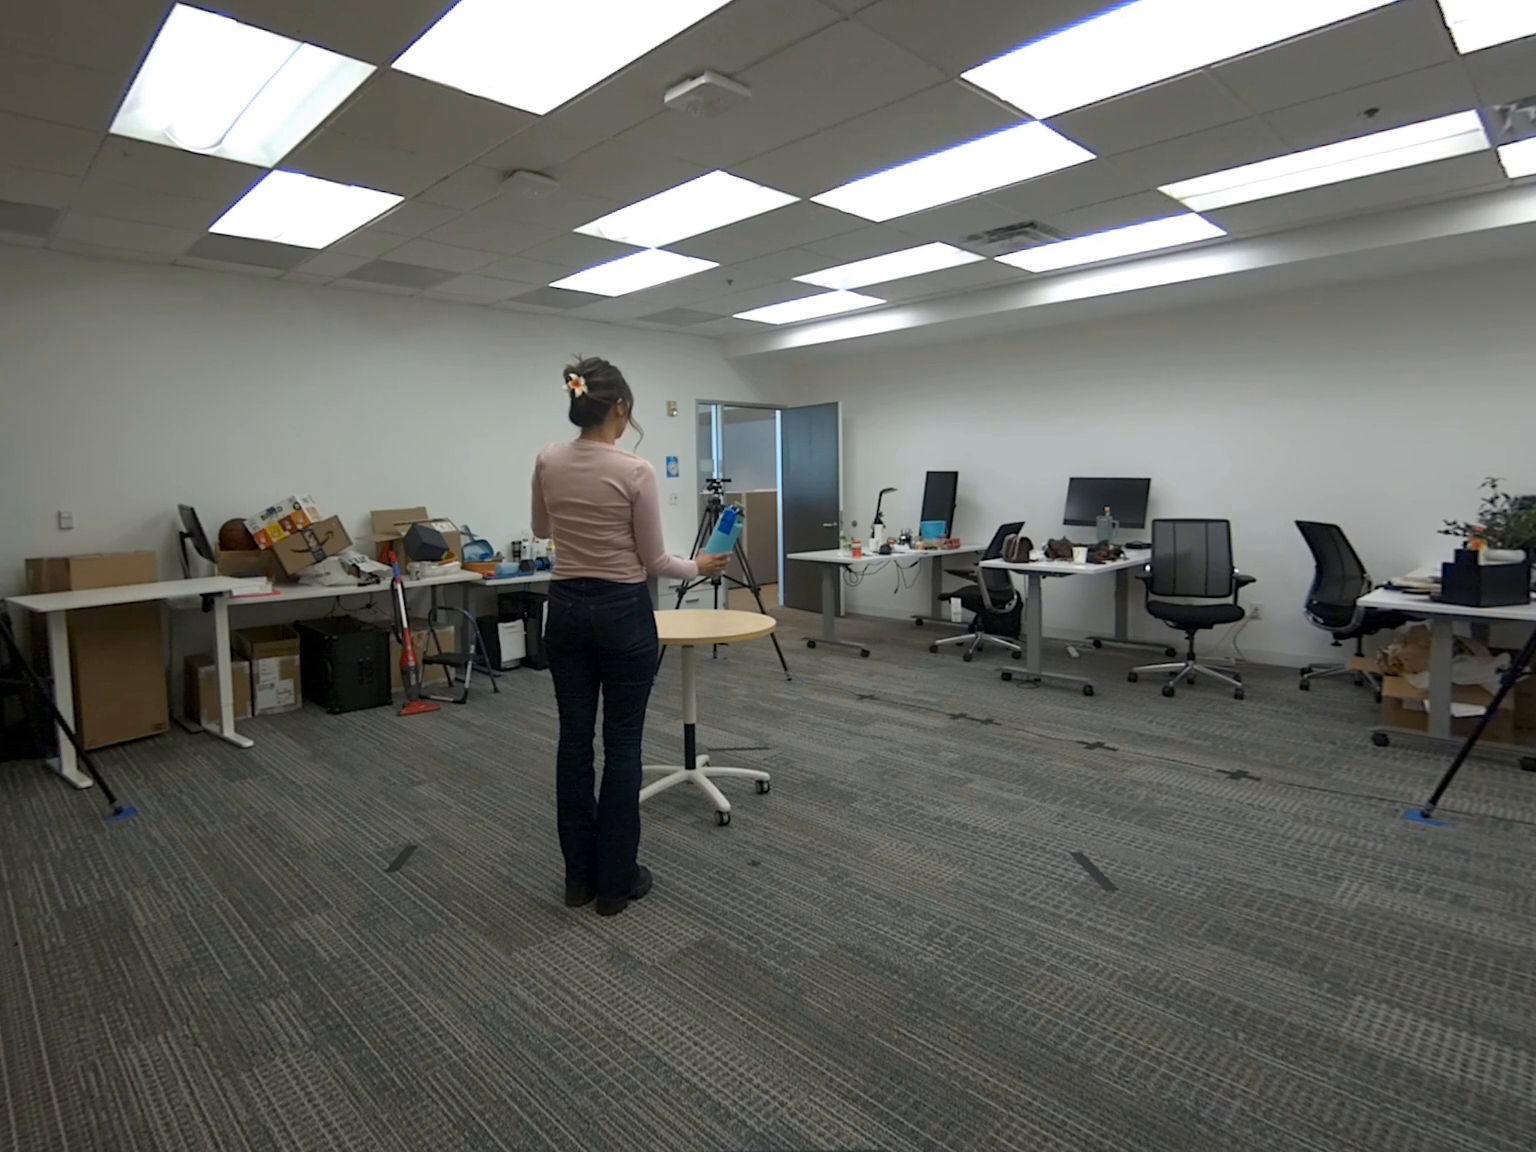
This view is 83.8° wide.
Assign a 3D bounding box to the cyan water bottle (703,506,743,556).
[{"bbox_3d":[-0.164,-0.129,3.053,0.091,0.282,0.093,23,13,-8],"label":"cyan water bottle"}]
